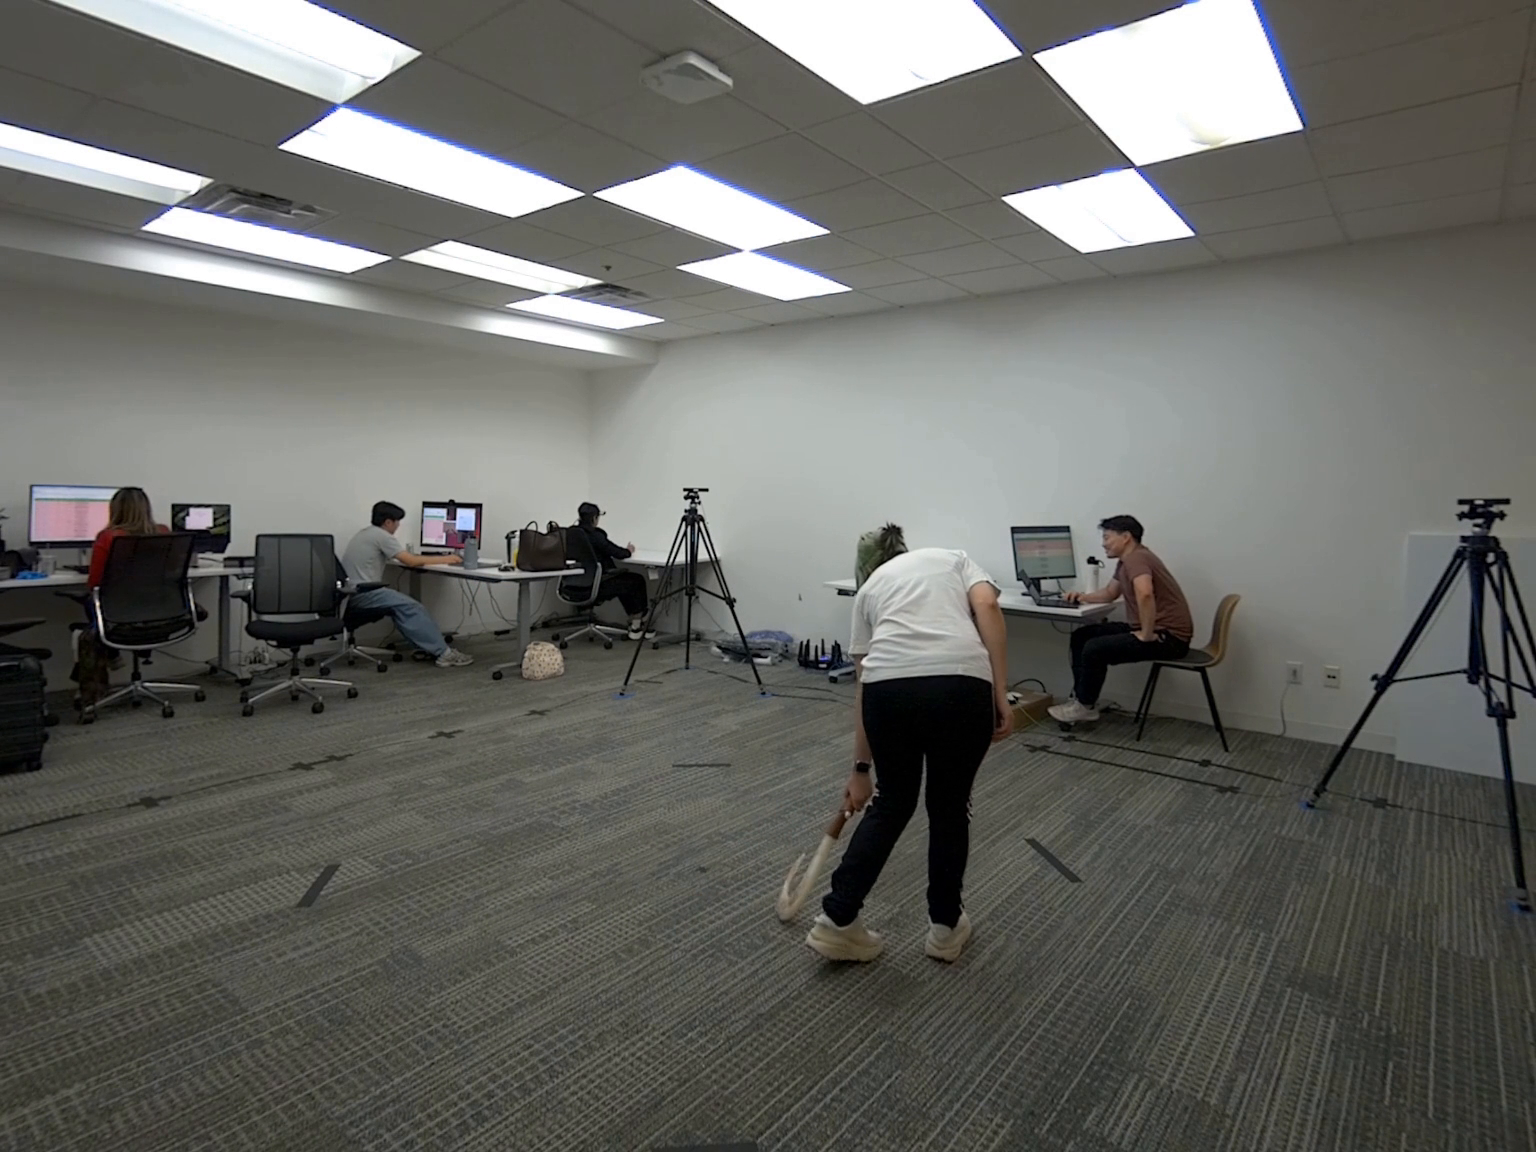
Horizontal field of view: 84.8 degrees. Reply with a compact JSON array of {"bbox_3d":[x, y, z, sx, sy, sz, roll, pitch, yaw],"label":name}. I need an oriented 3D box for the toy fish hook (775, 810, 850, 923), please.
[{"bbox_3d":[0.161,0.888,2.792,0.048,0.507,0.227,33,-5,-10],"label":"toy fish hook"}]
